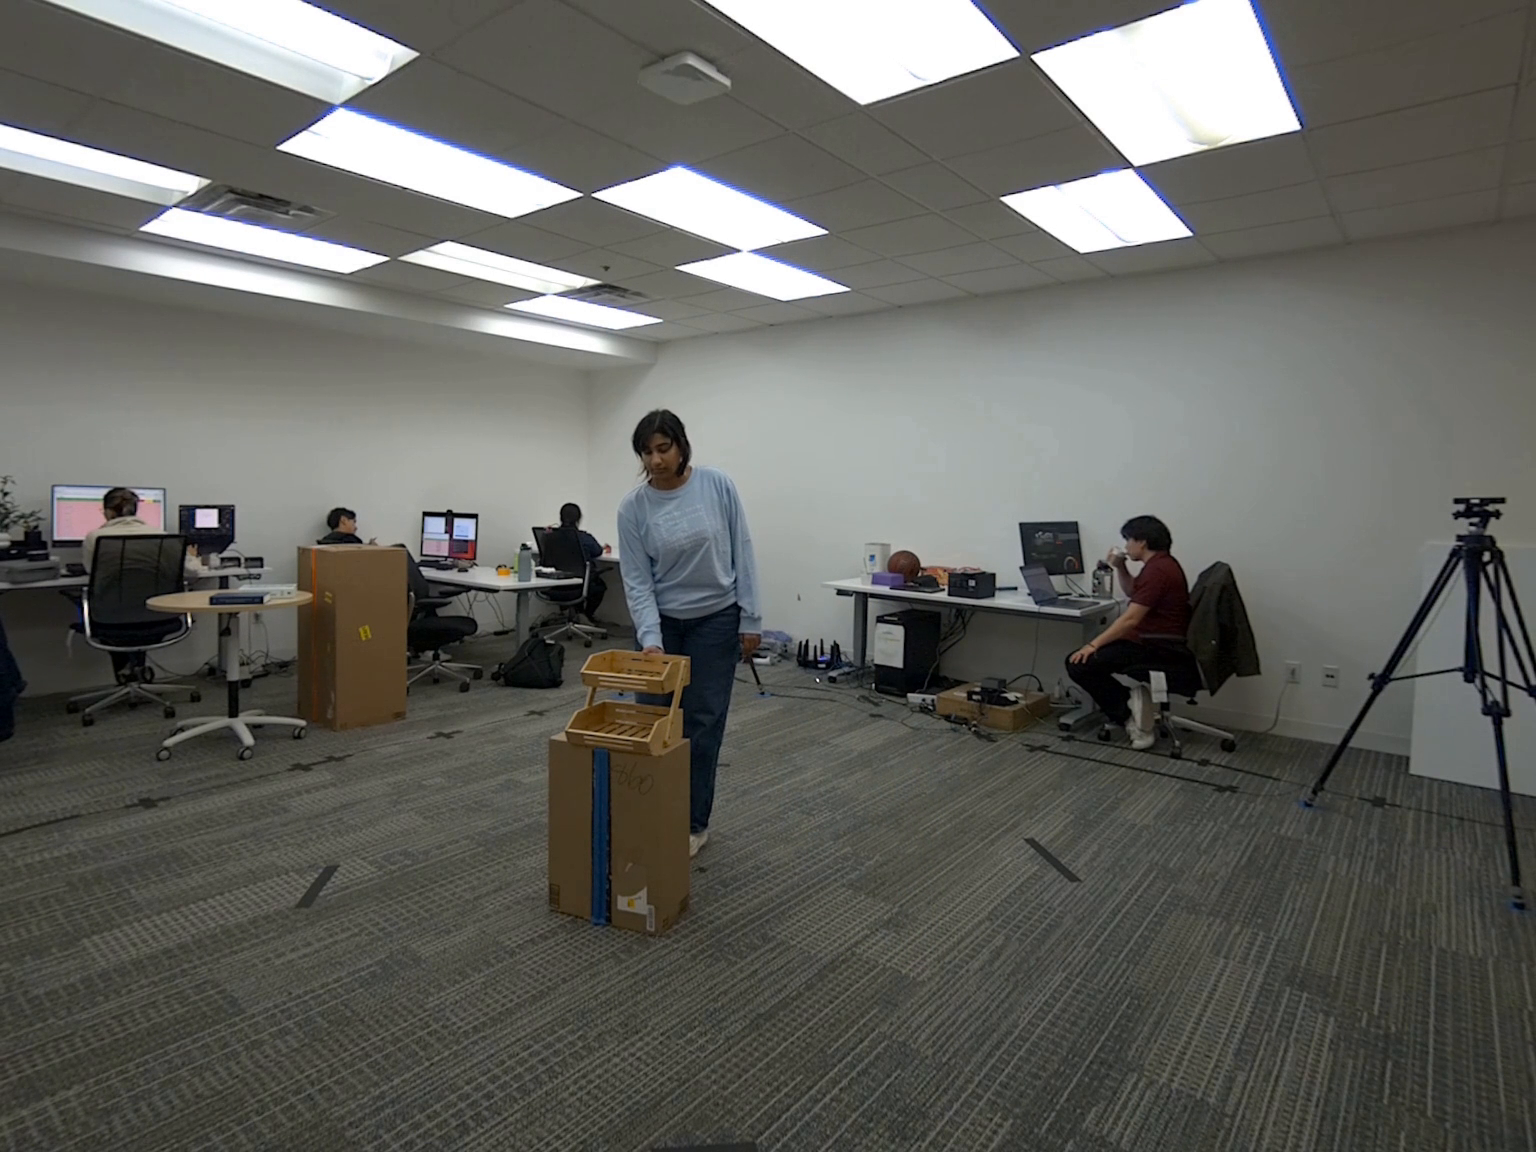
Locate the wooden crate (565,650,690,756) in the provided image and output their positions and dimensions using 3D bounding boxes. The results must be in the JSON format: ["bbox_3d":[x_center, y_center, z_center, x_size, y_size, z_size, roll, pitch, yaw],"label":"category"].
[{"bbox_3d":[-0.467,0.398,2.786,0.332,0.273,0.296,2,3,21],"label":"wooden crate"}]
